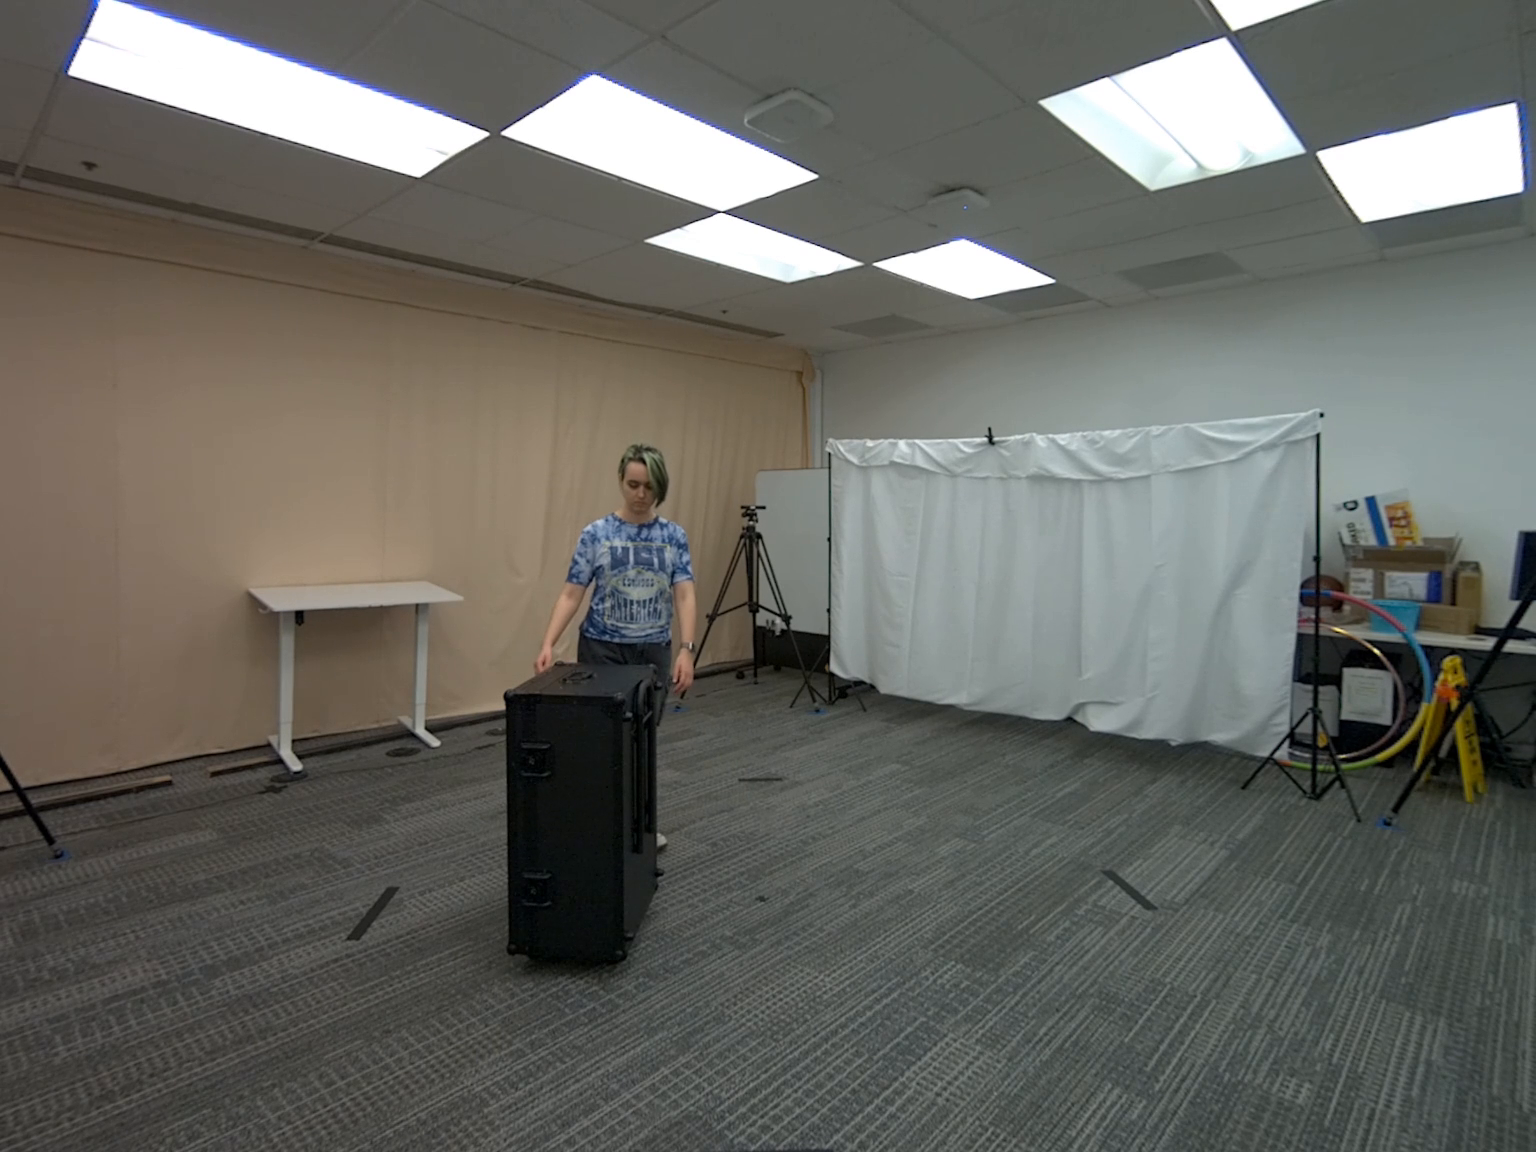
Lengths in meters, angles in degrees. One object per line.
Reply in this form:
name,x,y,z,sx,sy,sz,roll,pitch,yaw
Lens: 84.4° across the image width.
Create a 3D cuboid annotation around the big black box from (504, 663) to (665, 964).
big black box,-0.565,0.750,2.690,0.400,0.860,0.517,1,2,7
